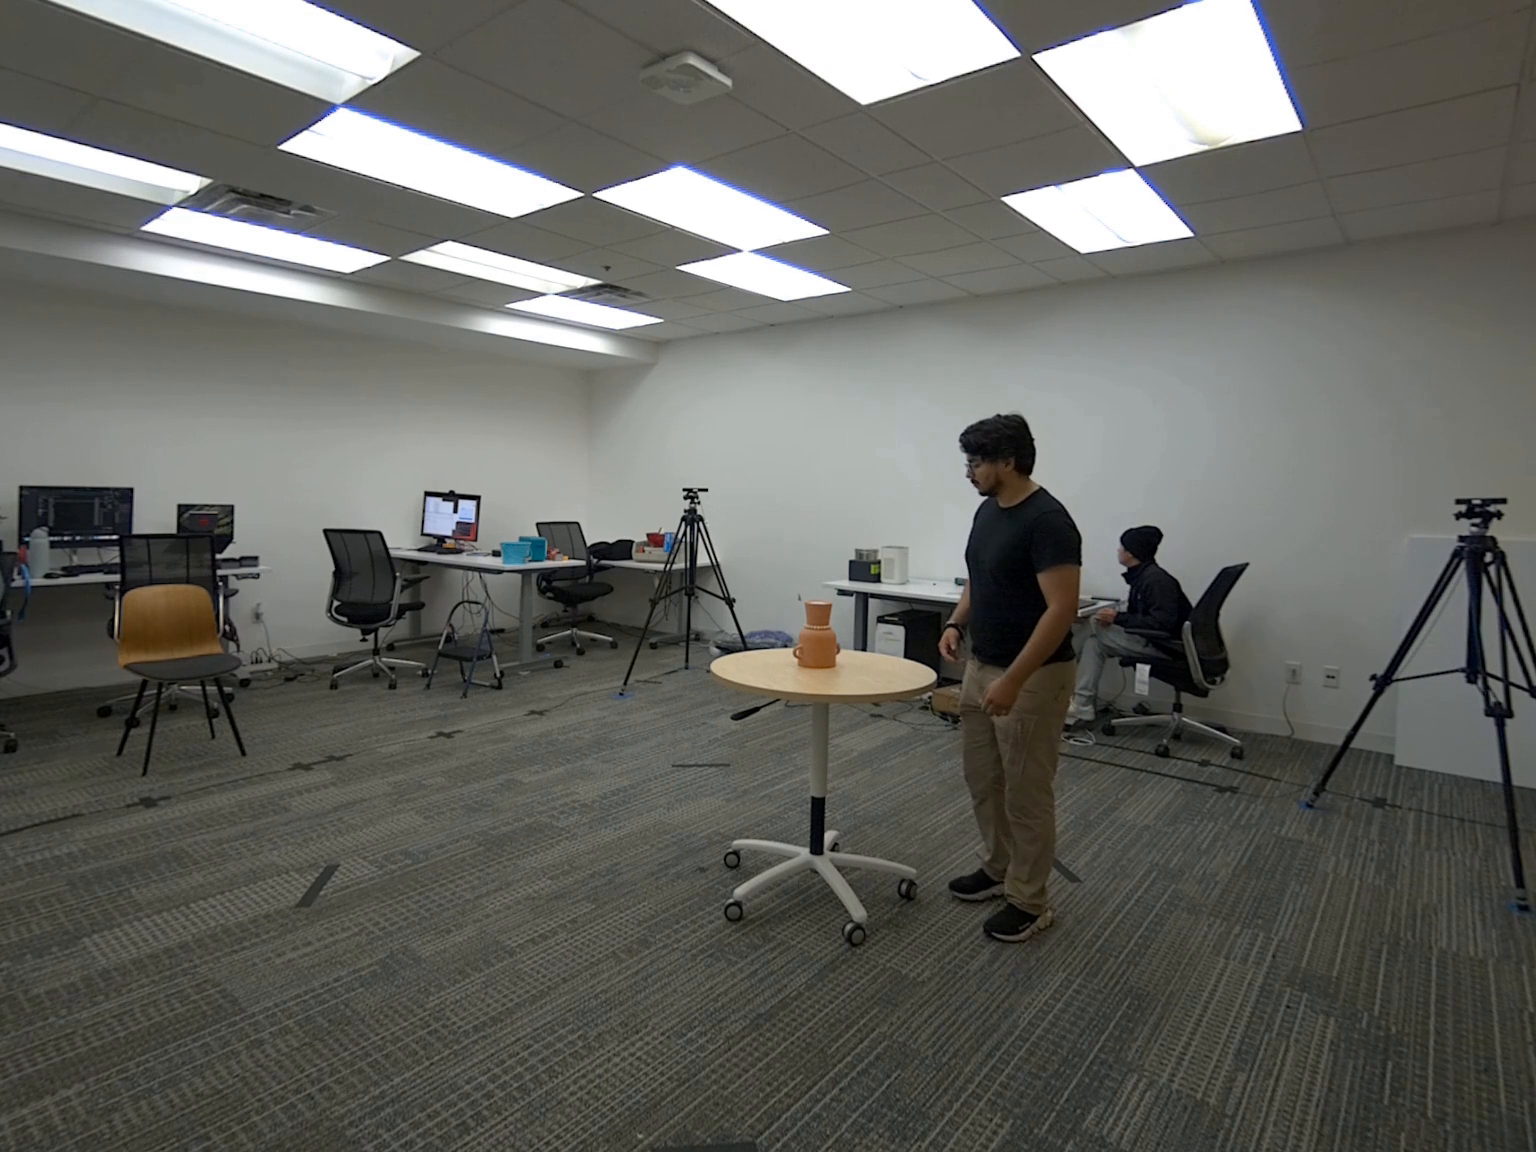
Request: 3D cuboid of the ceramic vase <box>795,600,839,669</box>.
[{"bbox_3d":[0.174,0.201,2.972,0.138,0.219,0.155,4,4,22],"label":"ceramic vase"}]
